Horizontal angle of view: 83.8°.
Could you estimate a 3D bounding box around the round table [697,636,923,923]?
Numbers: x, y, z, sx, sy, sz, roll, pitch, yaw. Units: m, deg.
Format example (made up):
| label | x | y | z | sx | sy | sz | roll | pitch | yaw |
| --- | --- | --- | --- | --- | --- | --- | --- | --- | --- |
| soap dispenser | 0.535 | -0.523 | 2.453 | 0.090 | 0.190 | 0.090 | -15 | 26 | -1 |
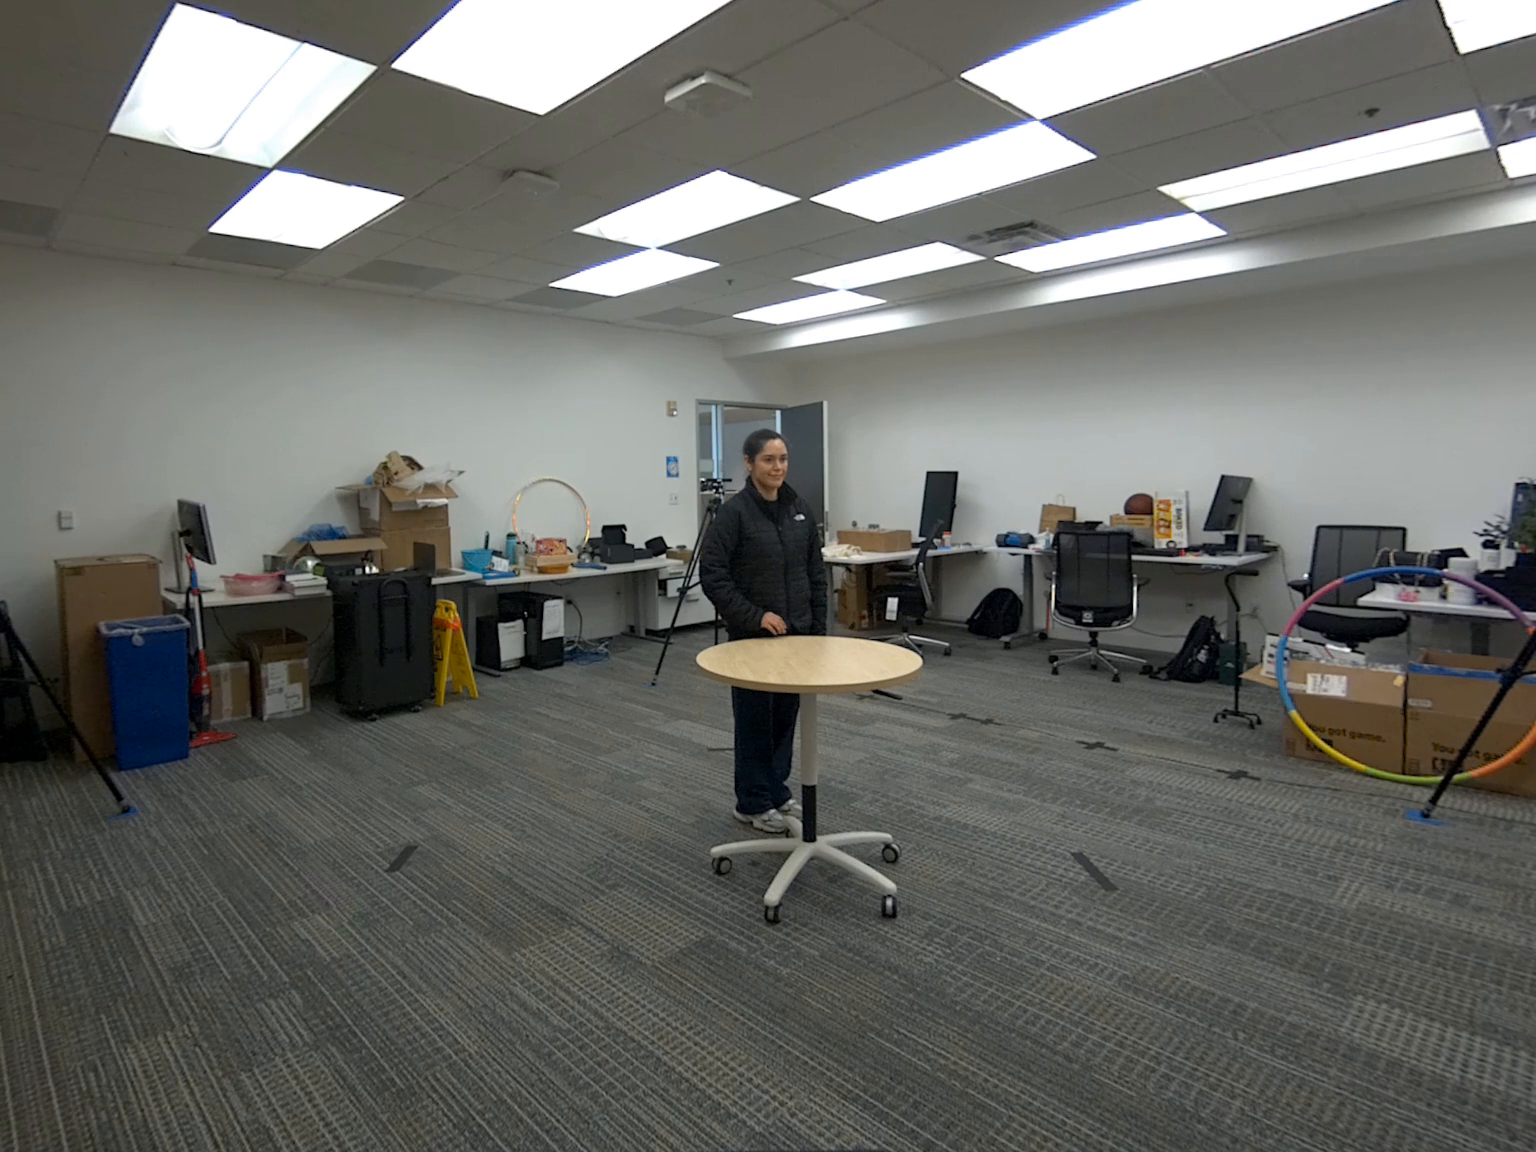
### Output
| label | x | y | z | sx | sy | sz | roll | pitch | yaw |
| --- | --- | --- | --- | --- | --- | --- | --- | --- | --- |
| round table | 0.129 | 0.669 | 2.953 | 0.784 | 0.783 | 0.789 | -1 | 5 | -2 |
